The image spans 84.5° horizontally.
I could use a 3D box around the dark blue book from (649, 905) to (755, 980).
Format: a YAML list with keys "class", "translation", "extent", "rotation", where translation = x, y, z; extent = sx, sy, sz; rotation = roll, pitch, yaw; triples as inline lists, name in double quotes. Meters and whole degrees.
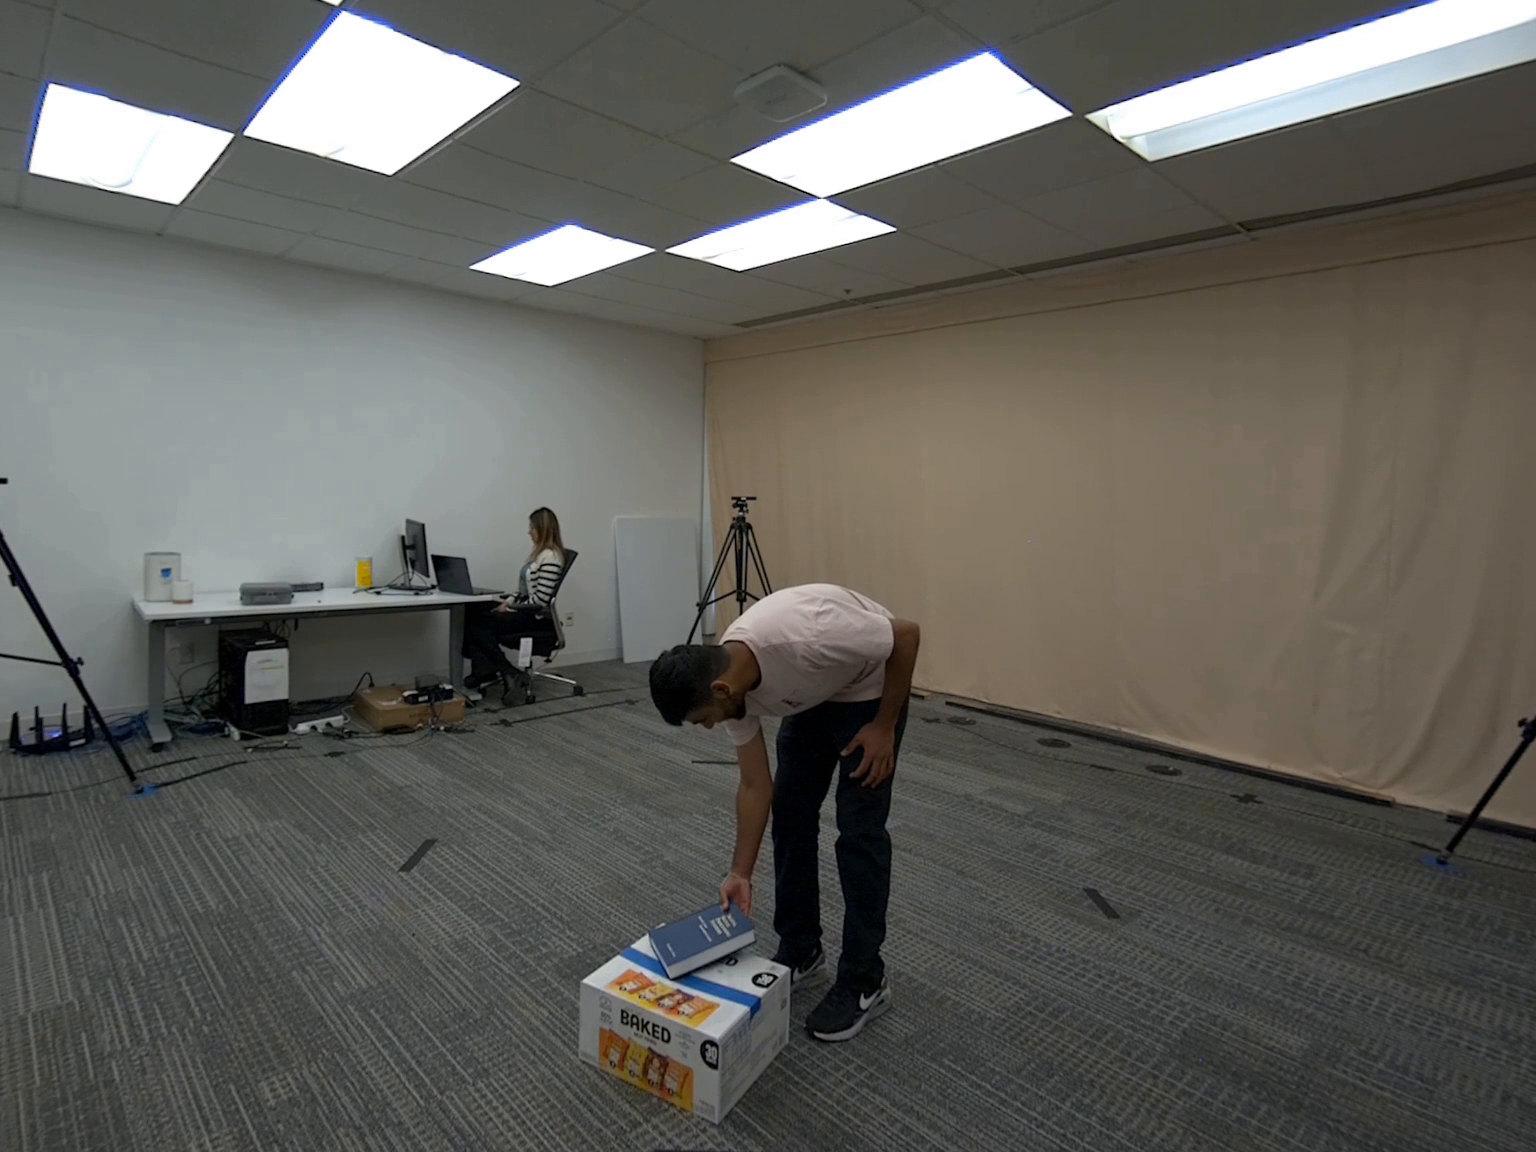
- class: "dark blue book"
  translation: [-0.175, 0.945, 2.195]
  extent: [0.242, 0.045, 0.167]
  rotation: [-14, 13, -24]
